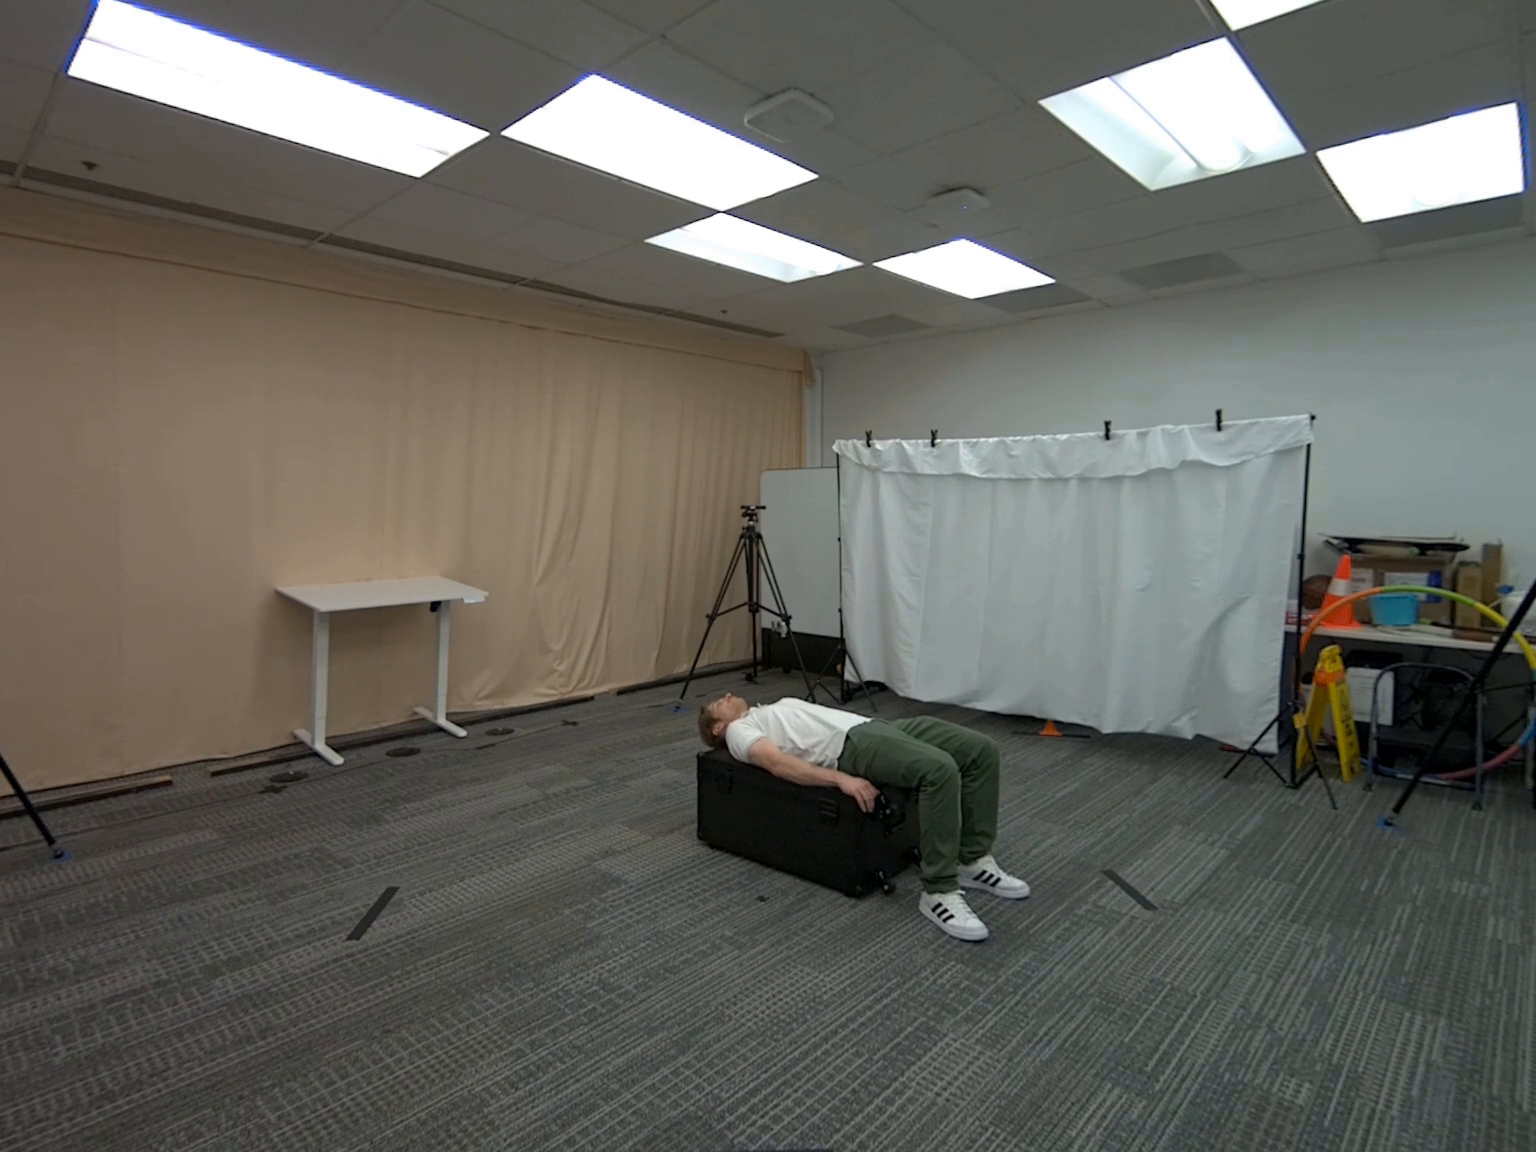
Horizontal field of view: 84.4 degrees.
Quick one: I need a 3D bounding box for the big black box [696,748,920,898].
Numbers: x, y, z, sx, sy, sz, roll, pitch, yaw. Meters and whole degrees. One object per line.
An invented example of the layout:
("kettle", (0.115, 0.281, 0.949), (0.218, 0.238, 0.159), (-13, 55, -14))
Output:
("big black box", (0.191, 0.924, 3.347), (0.897, 0.384, 0.507), (4, 5, 39))
